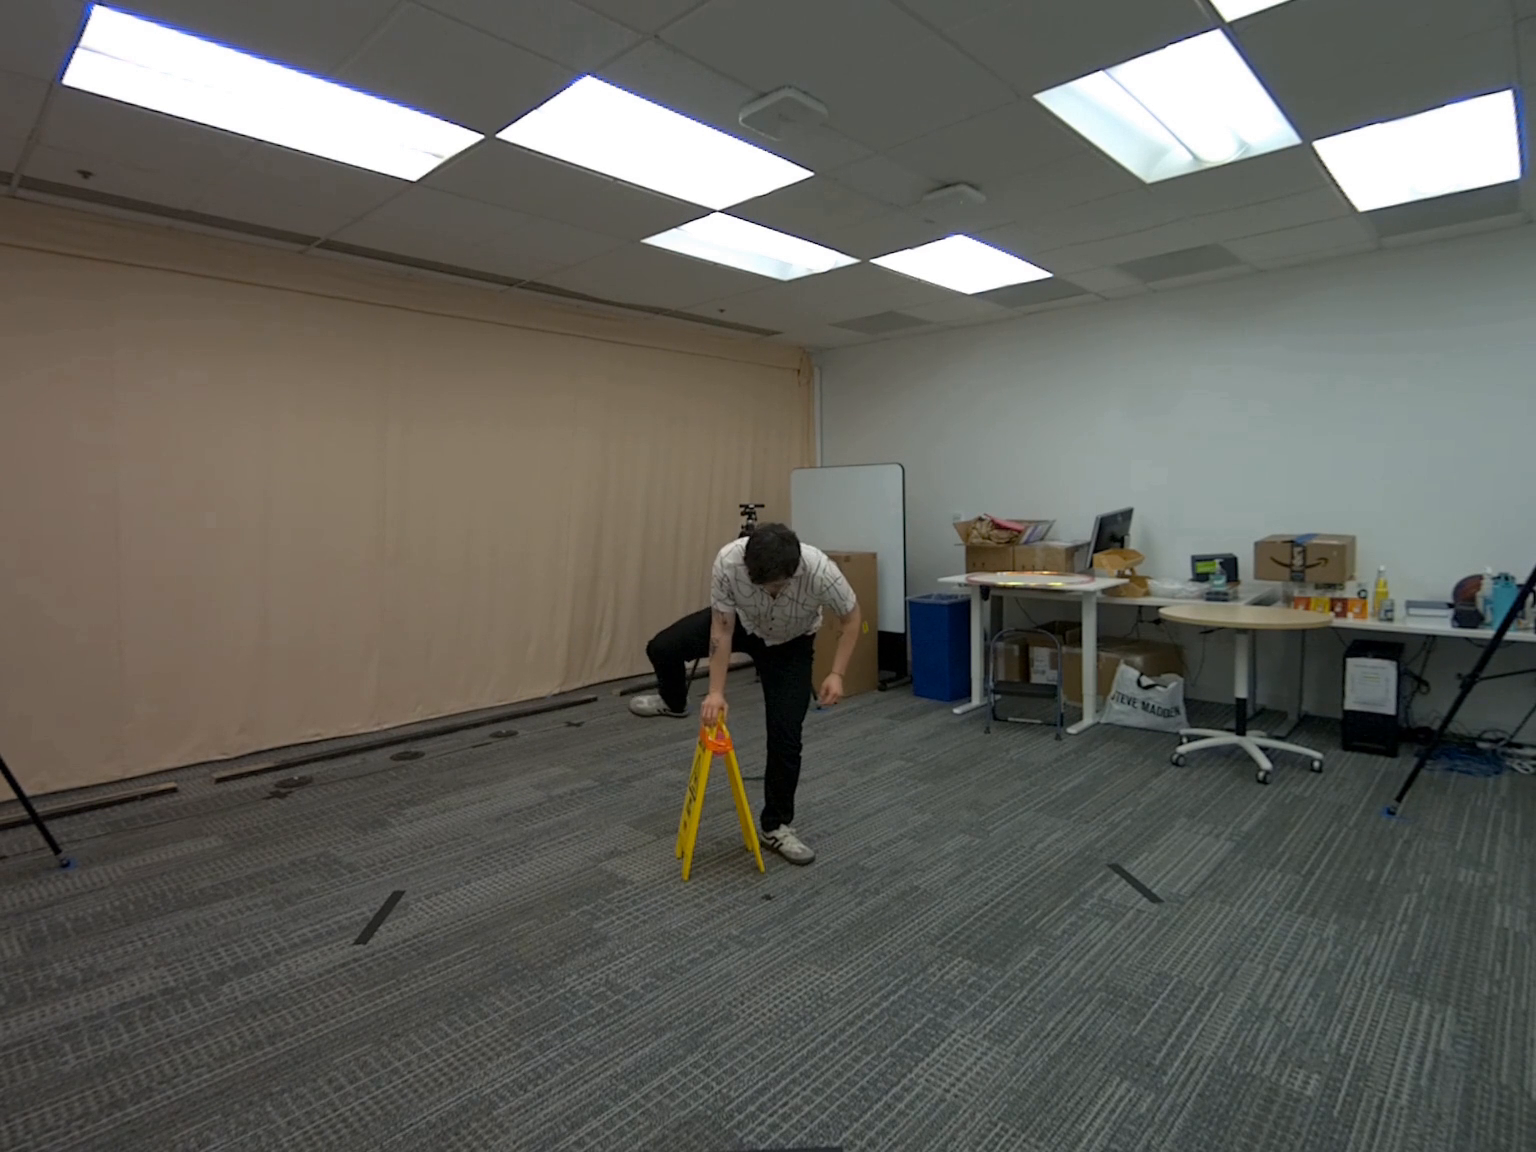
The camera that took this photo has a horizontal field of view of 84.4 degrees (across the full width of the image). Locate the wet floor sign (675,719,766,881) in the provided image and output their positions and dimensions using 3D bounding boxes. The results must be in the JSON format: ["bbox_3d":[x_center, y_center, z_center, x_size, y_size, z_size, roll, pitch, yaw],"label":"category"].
[{"bbox_3d":[-0.200,0.791,3.266,0.286,0.645,0.286,-2,2,-12],"label":"wet floor sign"}]
